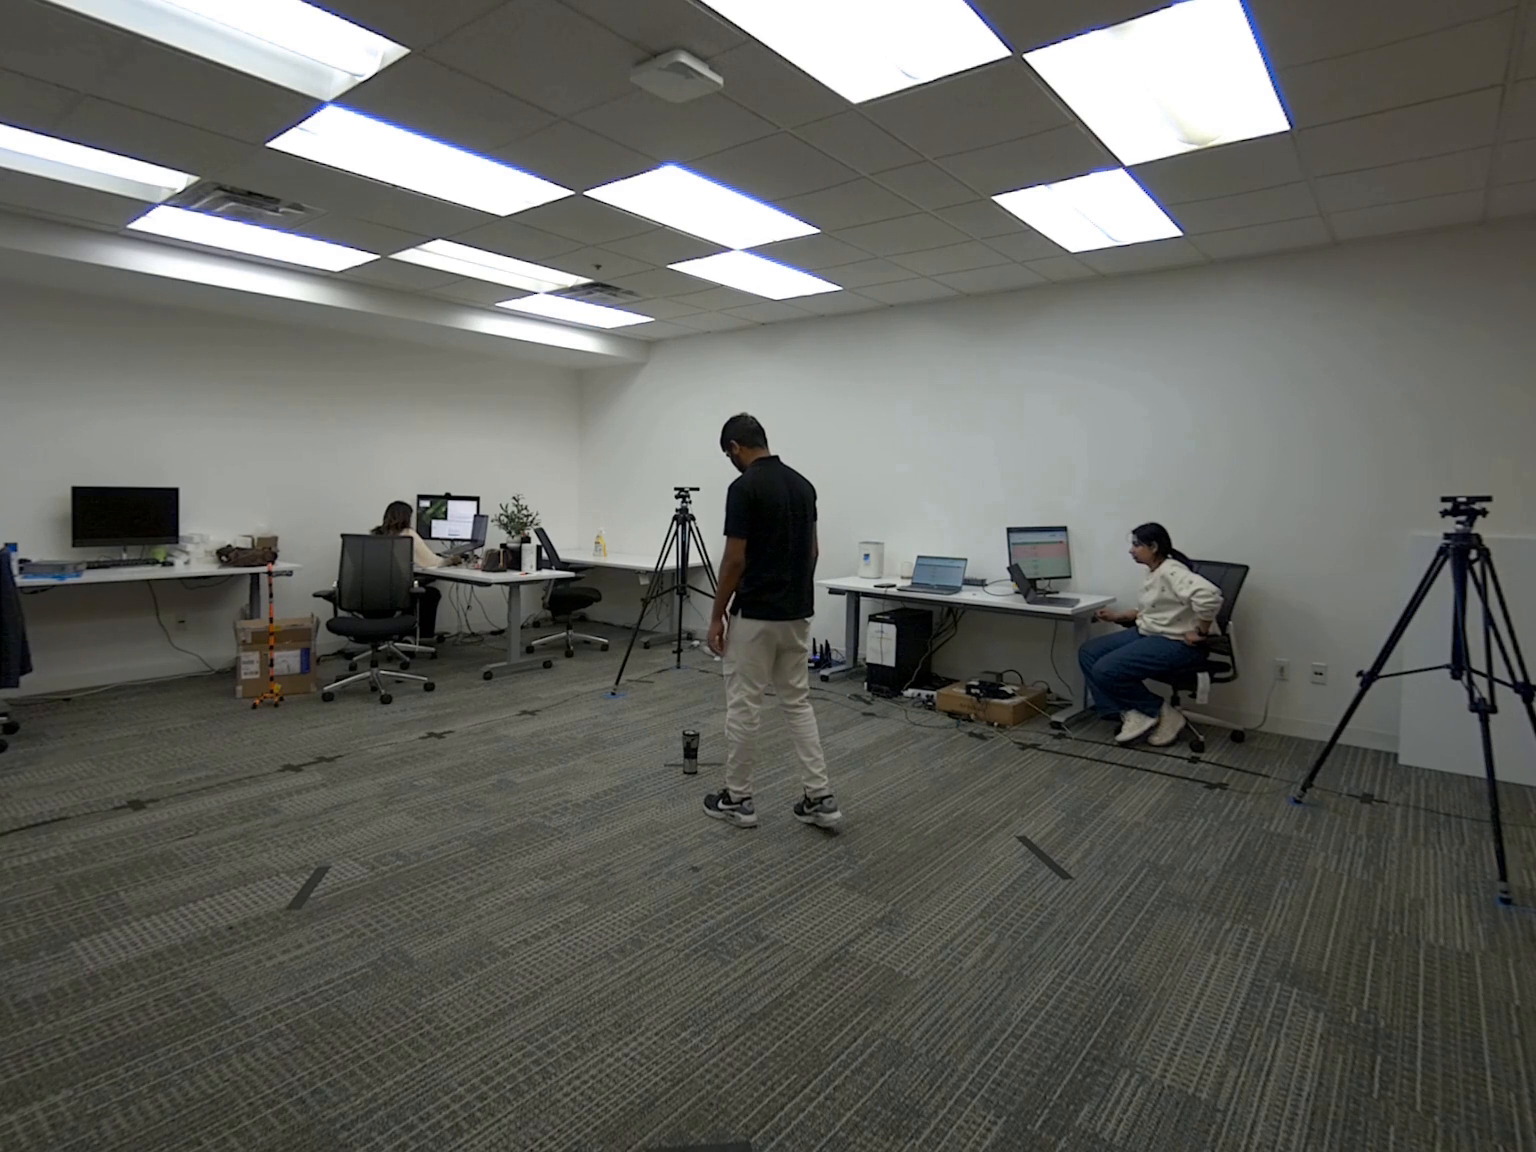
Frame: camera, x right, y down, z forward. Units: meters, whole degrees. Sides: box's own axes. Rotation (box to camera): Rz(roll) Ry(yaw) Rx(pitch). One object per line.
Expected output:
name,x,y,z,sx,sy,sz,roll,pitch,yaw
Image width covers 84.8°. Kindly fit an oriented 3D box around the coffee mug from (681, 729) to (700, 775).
coffee mug,-0.404,0.863,4.155,0.091,0.202,0.118,8,3,36
